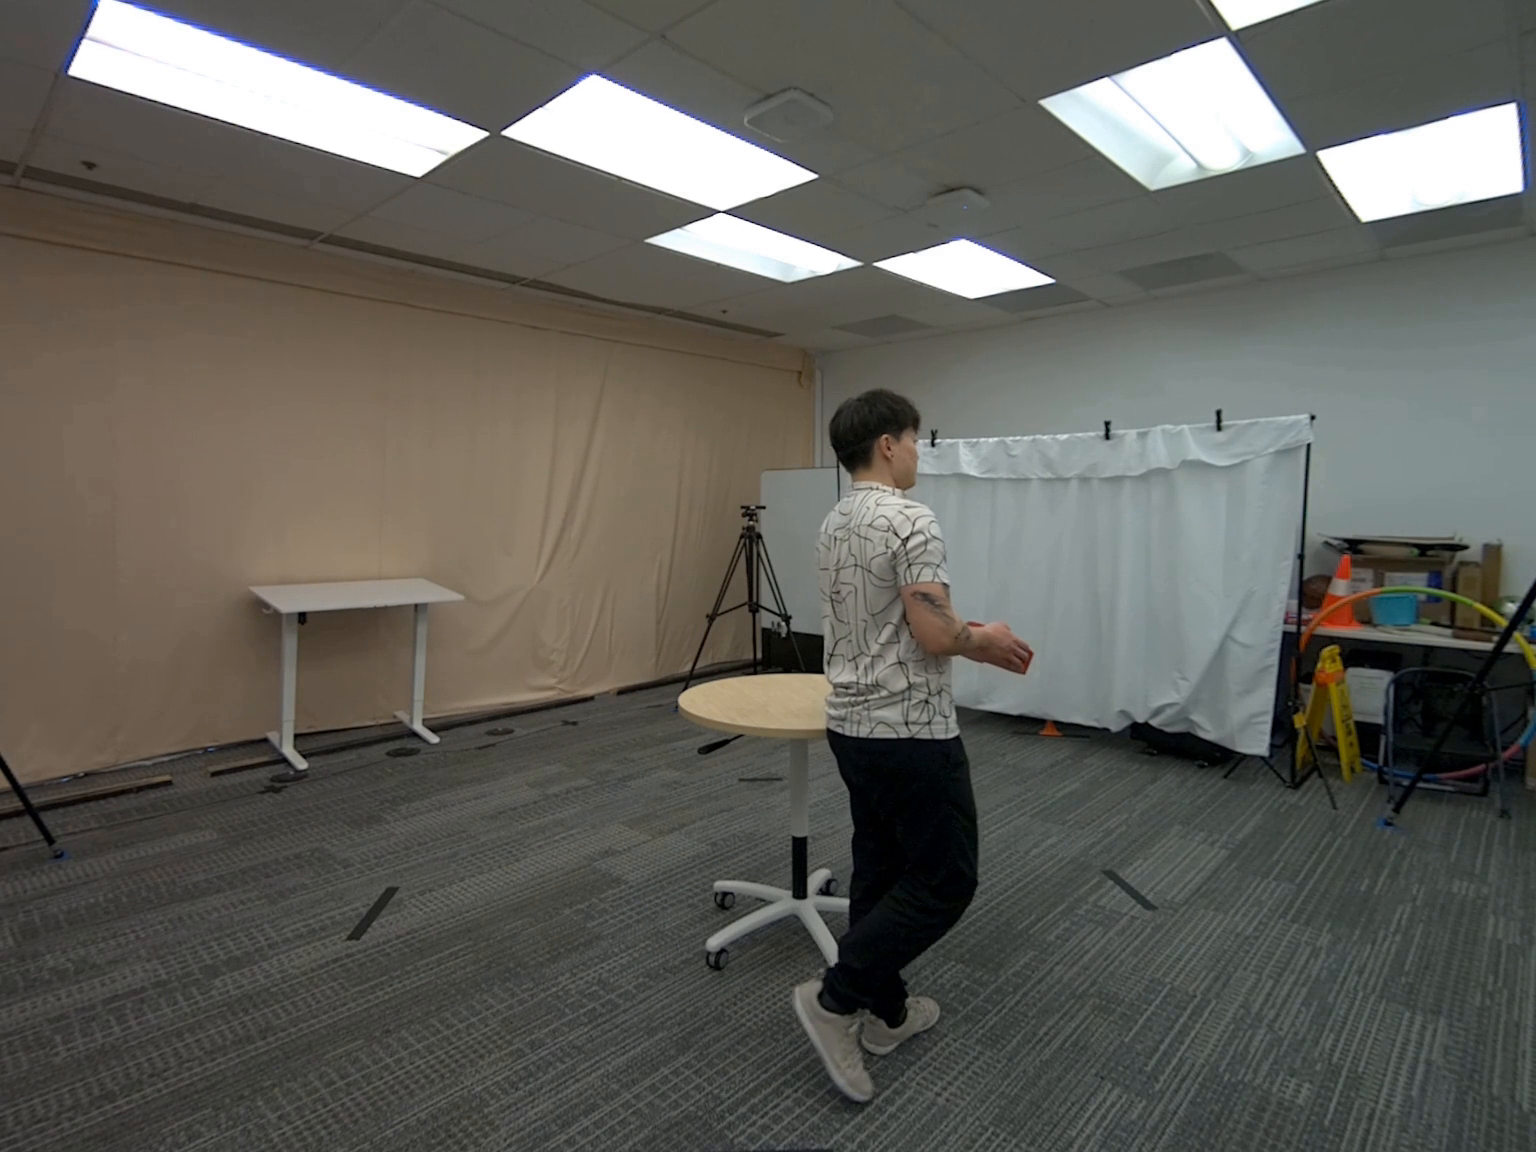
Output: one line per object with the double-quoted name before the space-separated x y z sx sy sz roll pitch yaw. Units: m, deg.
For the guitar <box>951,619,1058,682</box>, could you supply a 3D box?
"guitar" 0.568 0.193 2.344 0.191 0.071 0.503 29 -7 -10
